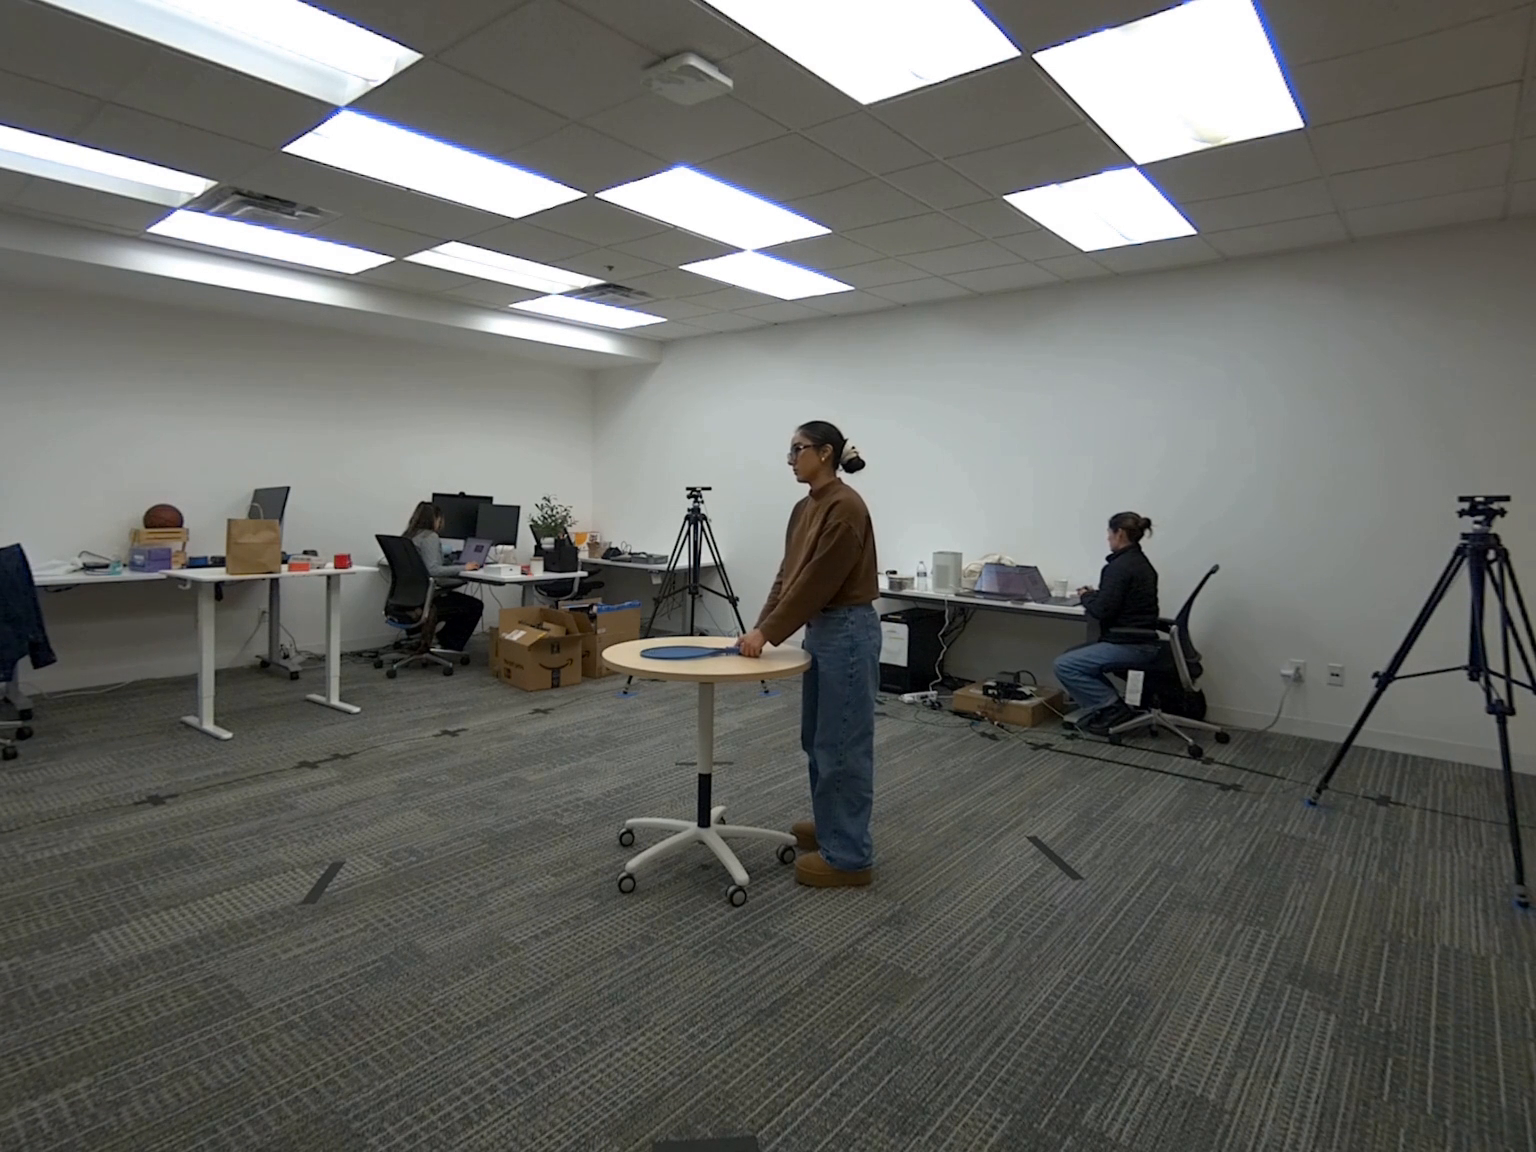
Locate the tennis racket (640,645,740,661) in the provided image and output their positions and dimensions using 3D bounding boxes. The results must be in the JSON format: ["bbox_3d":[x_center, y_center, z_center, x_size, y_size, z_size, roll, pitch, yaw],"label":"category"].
[{"bbox_3d":[-0.264,0.277,3.101,0.432,0.031,0.215,-1,6,-3],"label":"tennis racket"}]
